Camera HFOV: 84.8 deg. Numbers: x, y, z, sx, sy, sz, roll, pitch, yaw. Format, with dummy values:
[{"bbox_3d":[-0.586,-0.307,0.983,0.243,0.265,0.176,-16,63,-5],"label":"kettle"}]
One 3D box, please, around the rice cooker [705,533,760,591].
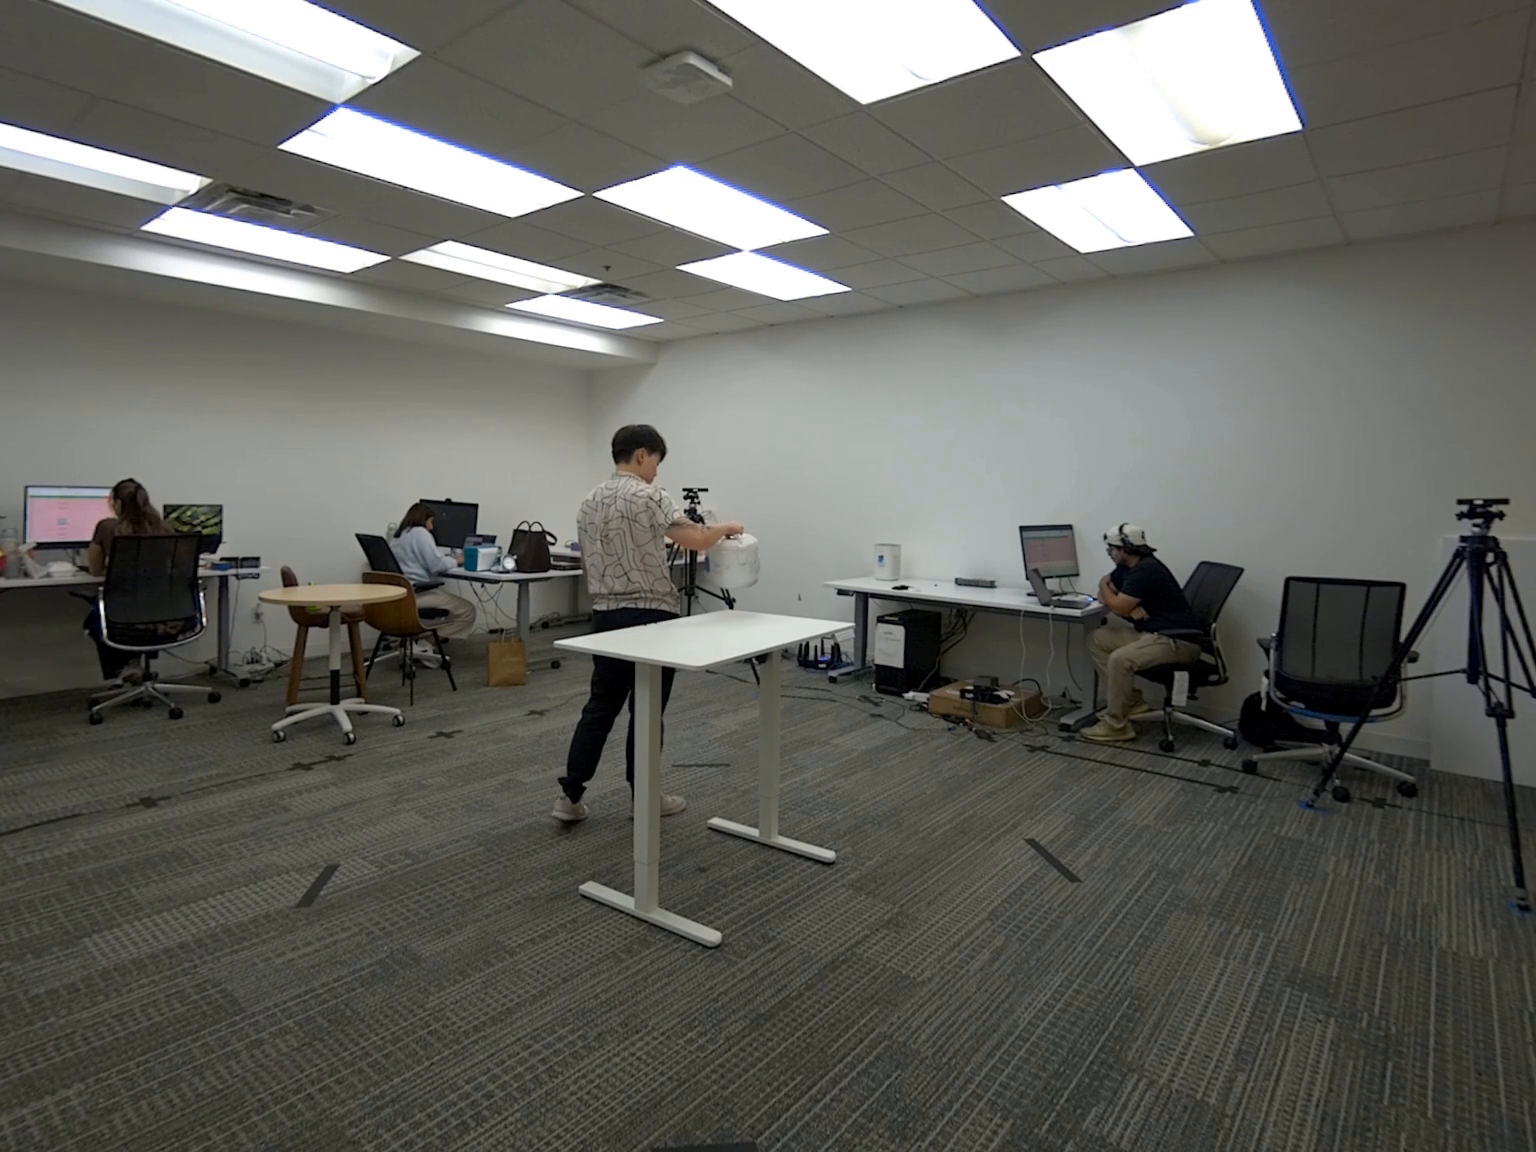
[{"bbox_3d":[-0.157,-0.080,3.568,0.213,0.230,0.228,-5,14,-22],"label":"rice cooker"}]
